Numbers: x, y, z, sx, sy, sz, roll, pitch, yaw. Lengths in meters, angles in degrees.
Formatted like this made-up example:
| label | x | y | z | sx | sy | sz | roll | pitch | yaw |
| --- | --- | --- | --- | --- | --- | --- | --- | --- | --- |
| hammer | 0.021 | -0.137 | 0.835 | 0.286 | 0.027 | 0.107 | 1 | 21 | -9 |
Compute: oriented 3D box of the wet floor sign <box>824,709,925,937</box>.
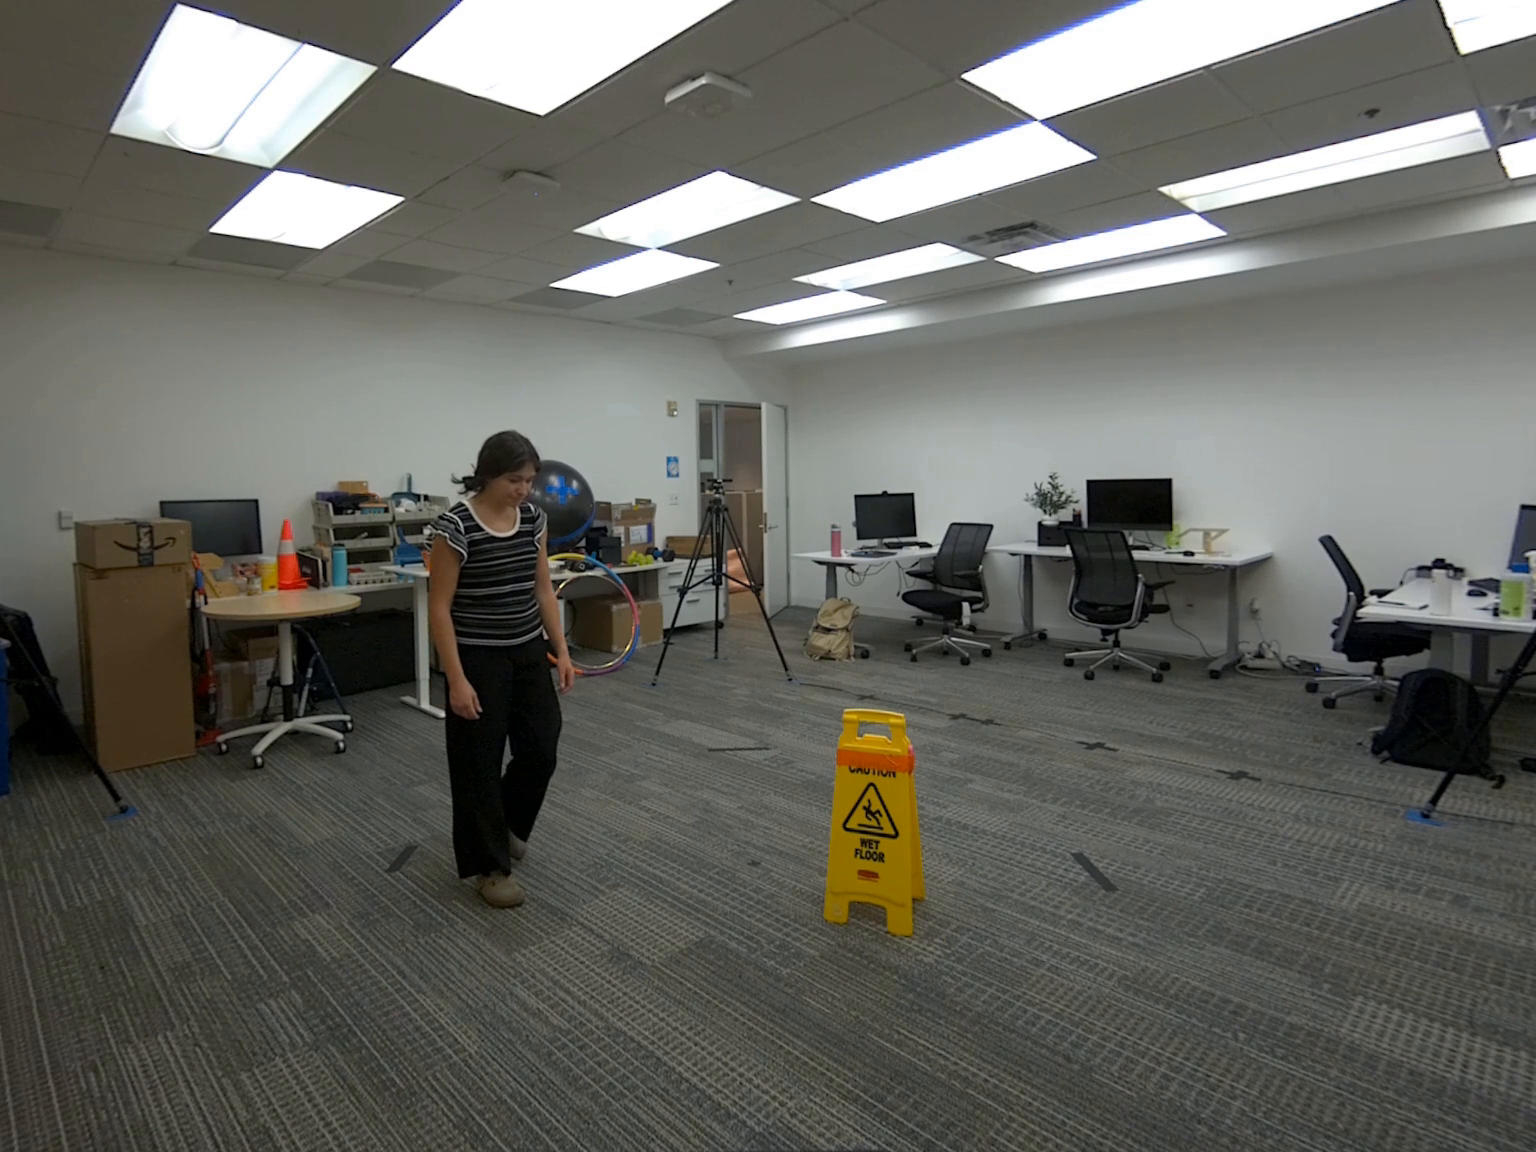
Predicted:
| label | x | y | z | sx | sy | sz | roll | pitch | yaw |
| --- | --- | --- | --- | --- | --- | --- | --- | --- | --- |
| wet floor sign | 0.343 | 0.751 | 2.731 | 0.287 | 0.643 | 0.286 | 0 | 6 | 19 |
